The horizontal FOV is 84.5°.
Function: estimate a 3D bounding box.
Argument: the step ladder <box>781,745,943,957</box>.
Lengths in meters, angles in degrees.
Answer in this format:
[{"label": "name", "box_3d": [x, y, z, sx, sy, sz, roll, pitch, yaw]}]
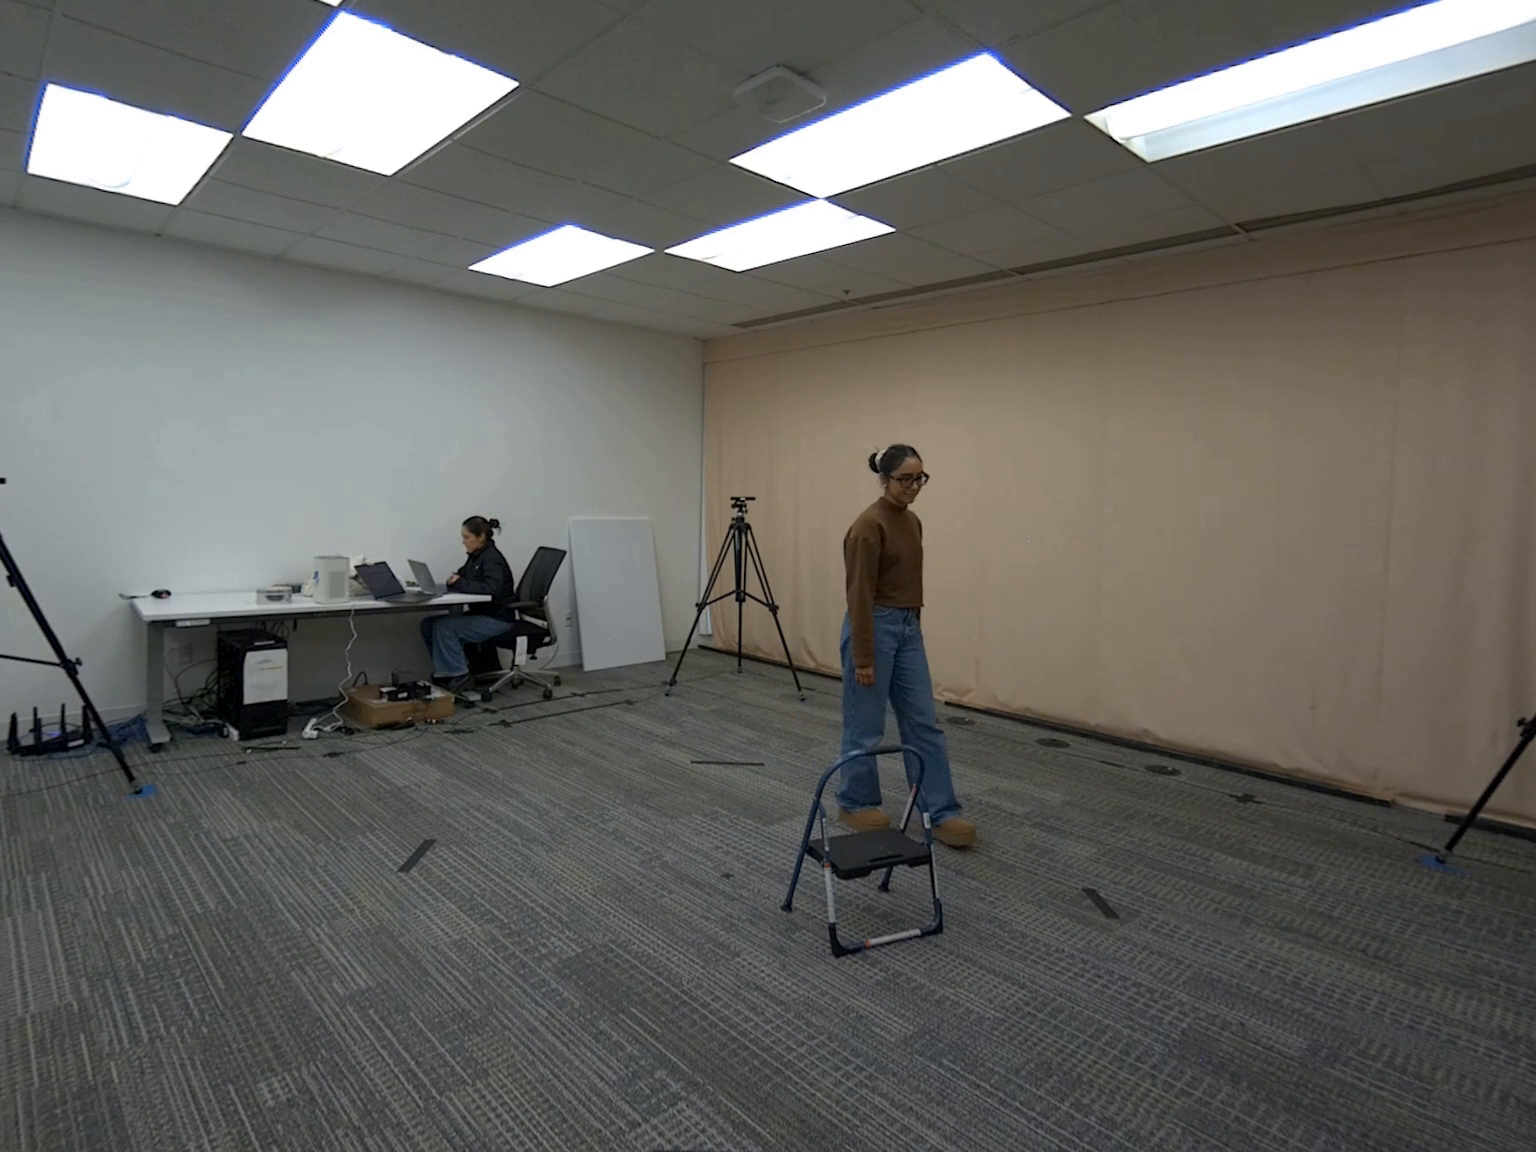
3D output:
[{"label": "step ladder", "box_3d": [0.313, 0.844, 2.777, 0.423, 0.604, 0.357, 0, 5, -26]}]
